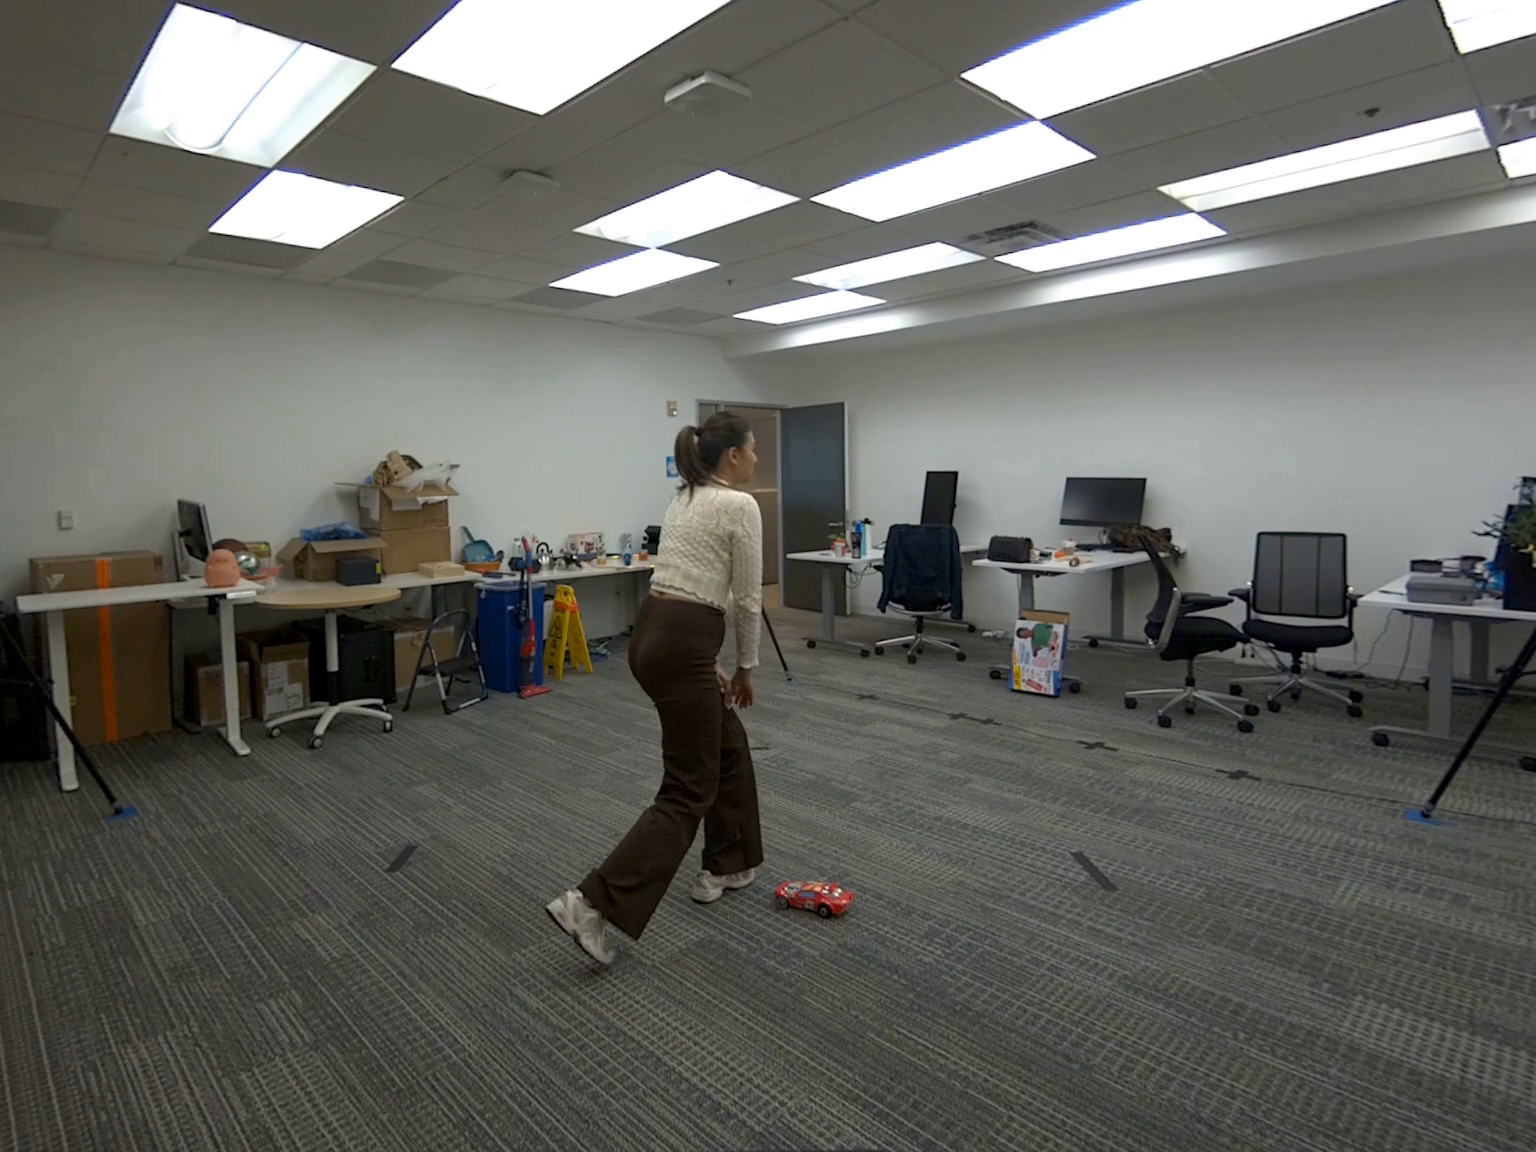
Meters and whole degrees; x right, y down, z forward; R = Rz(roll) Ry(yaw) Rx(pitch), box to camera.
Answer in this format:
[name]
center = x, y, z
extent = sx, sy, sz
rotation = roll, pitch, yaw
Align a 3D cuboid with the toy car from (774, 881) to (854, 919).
[toy car]
center = 0.159, 1.045, 2.776
extent = 0.259, 0.083, 0.128
rotation = -10, 0, 26
